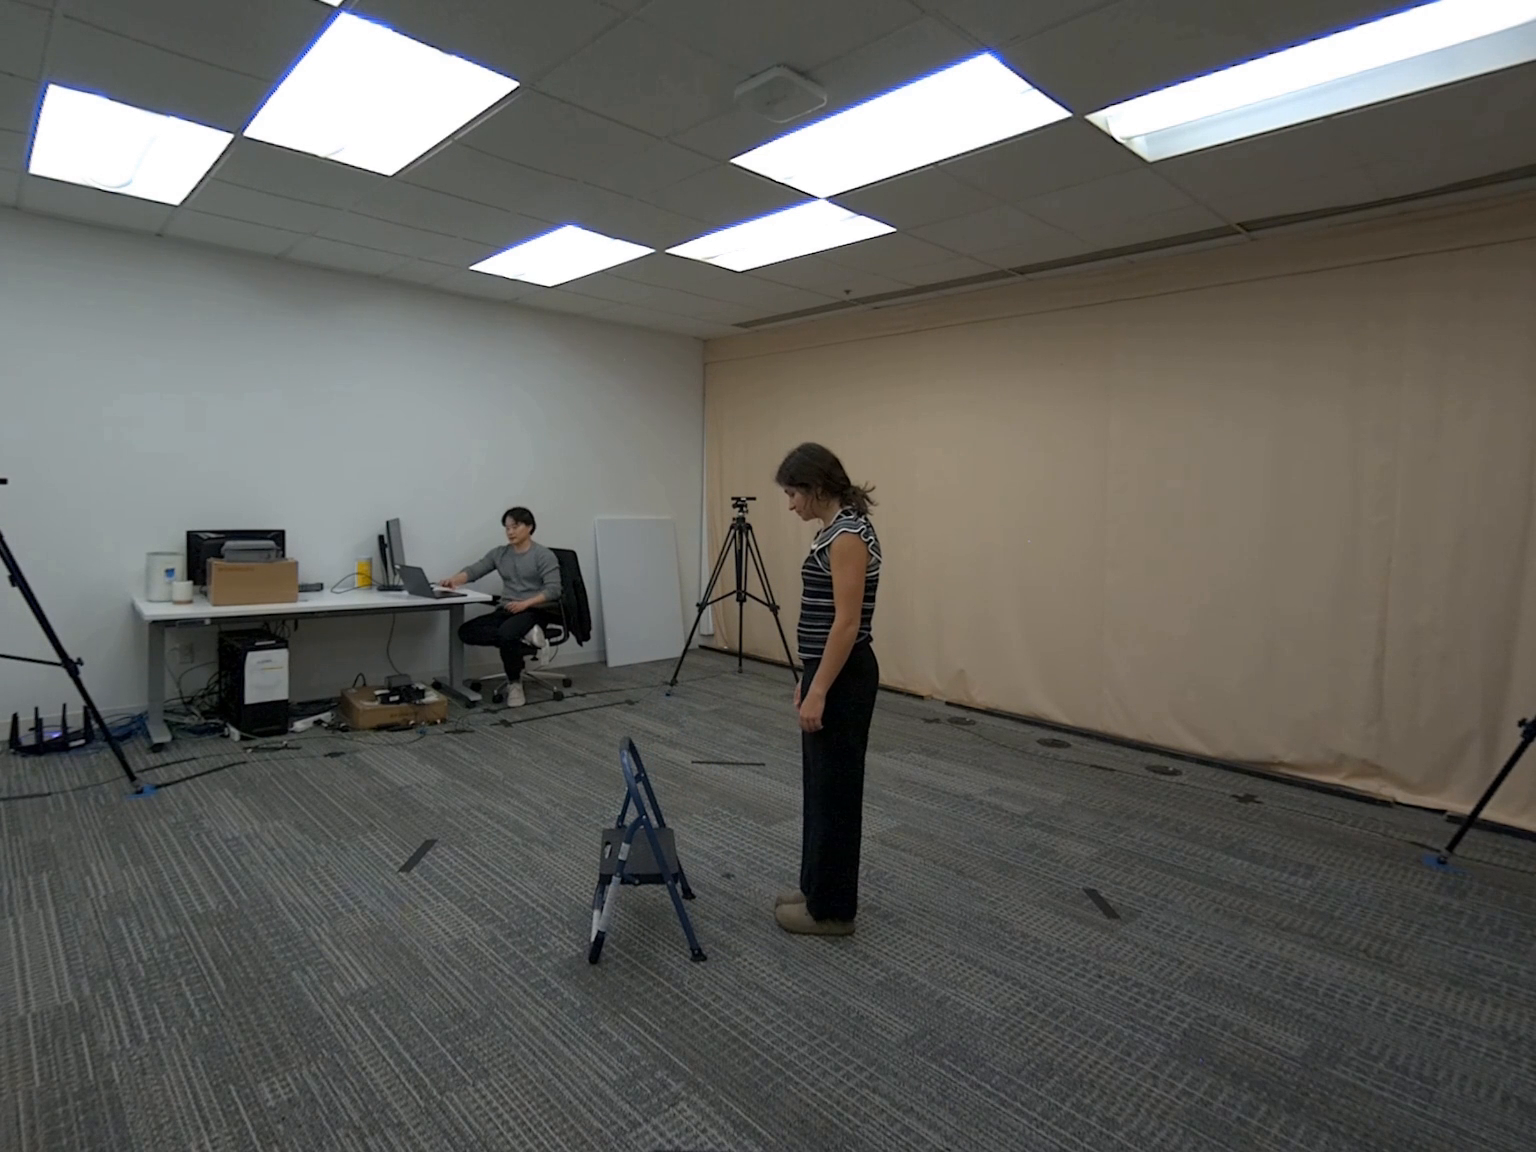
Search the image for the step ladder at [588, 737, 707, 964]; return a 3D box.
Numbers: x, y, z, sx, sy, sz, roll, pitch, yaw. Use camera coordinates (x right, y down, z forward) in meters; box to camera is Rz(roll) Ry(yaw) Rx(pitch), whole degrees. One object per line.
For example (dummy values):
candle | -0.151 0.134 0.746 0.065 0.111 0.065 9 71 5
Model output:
step ladder | -0.392 0.836 2.696 0.347 0.605 0.435 1 3 -10
